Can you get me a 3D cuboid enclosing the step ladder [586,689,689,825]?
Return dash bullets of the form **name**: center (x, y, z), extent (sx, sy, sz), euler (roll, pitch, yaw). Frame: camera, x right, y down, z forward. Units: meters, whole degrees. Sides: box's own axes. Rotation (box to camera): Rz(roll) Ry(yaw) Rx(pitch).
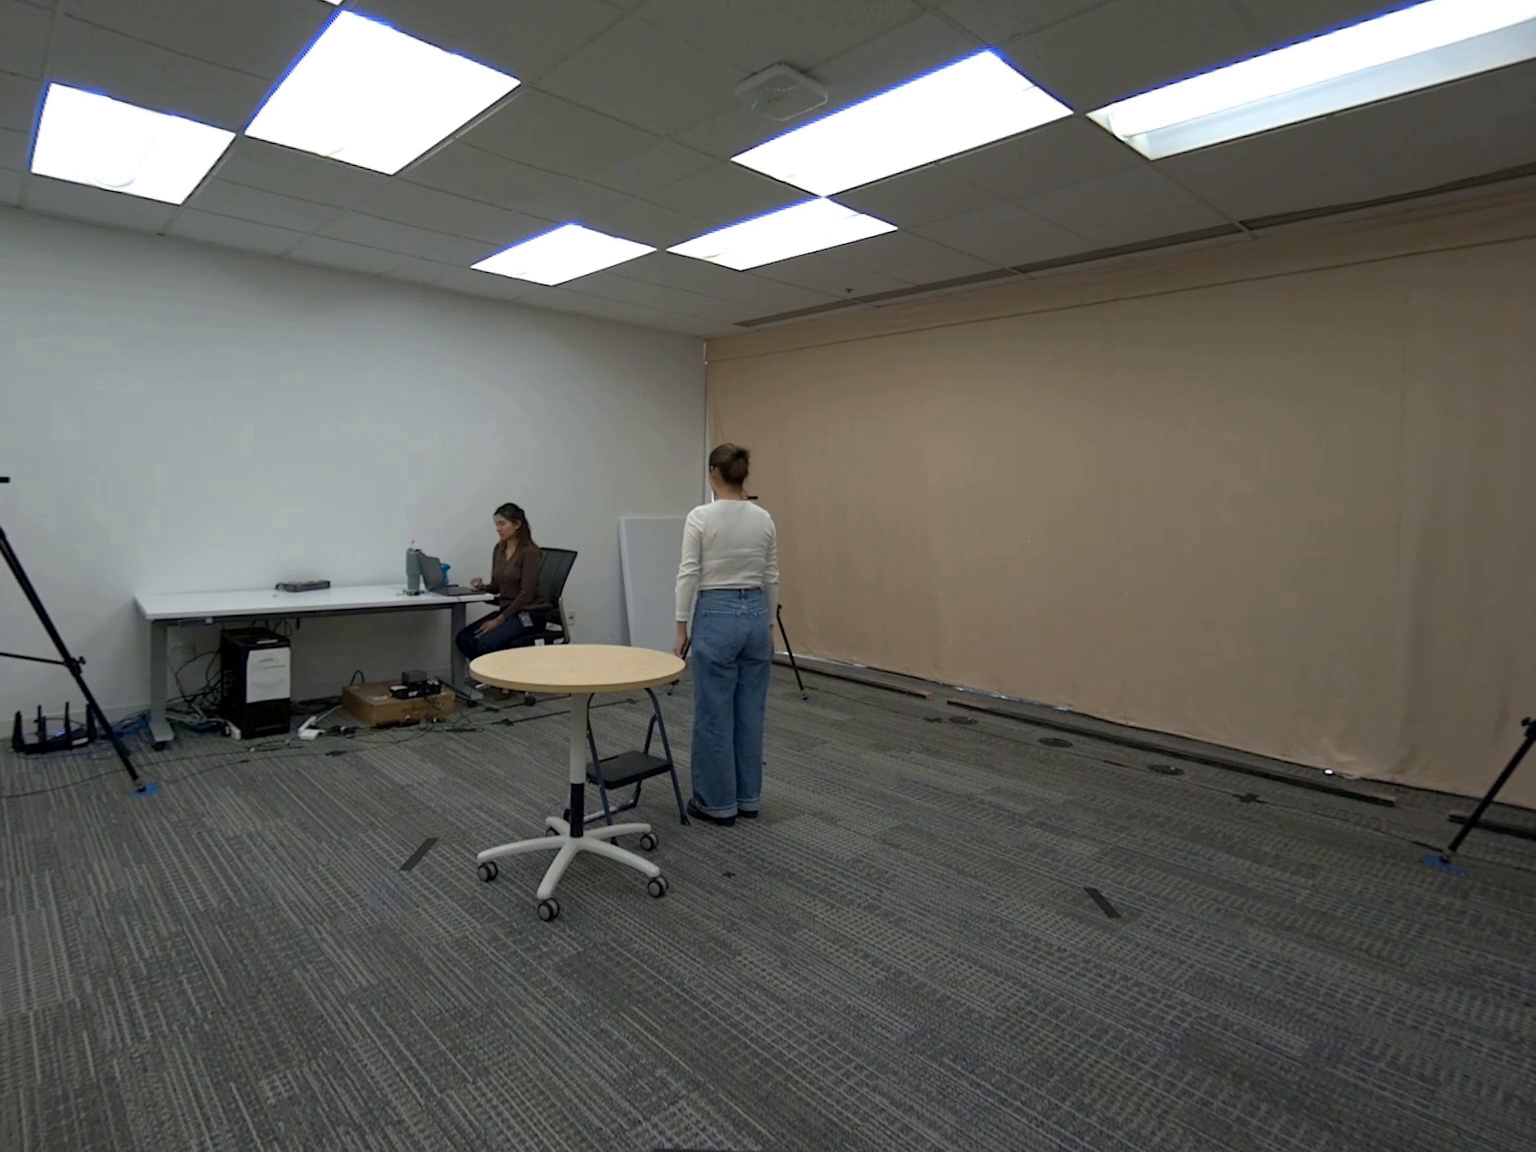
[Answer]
- **step ladder**: center (-0.589, 0.749, 3.517), extent (0.358, 0.605, 0.421), euler (4, 4, 38)
